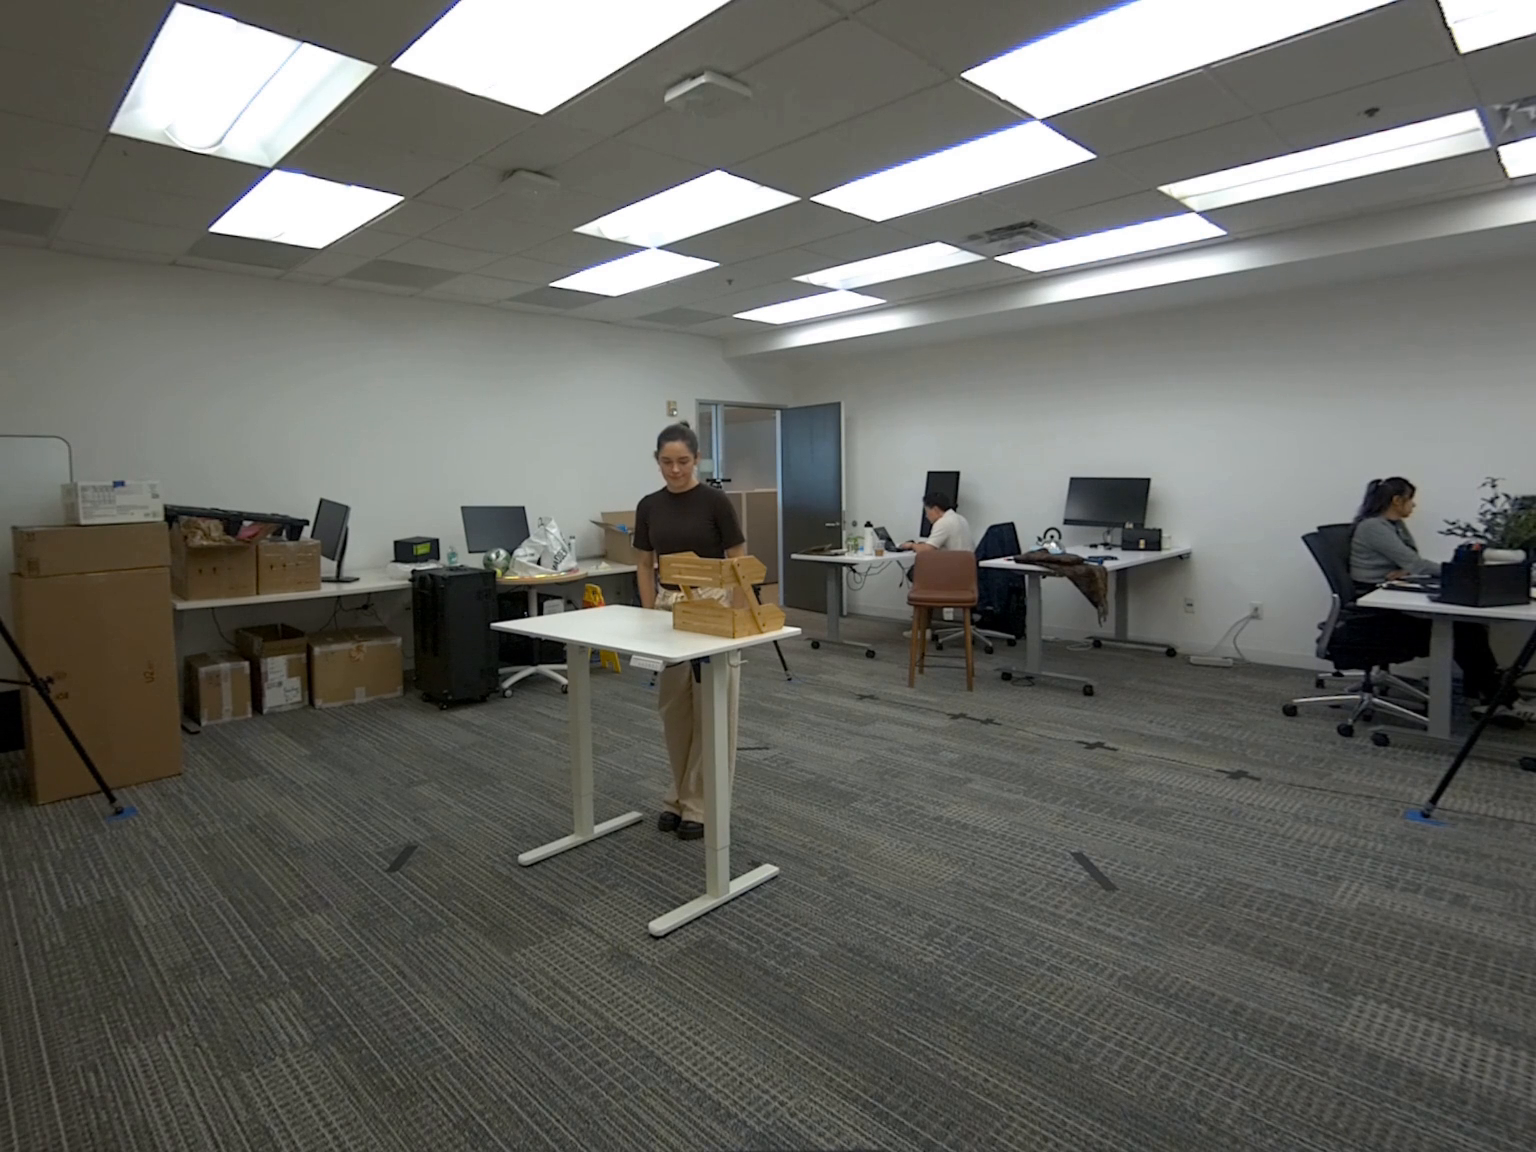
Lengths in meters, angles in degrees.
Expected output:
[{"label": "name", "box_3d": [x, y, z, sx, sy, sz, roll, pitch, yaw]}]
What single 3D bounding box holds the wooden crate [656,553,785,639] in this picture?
[{"label": "wooden crate", "box_3d": [-0.159, 0.054, 2.912, 0.334, 0.272, 0.294, 3, 8, 44]}]
